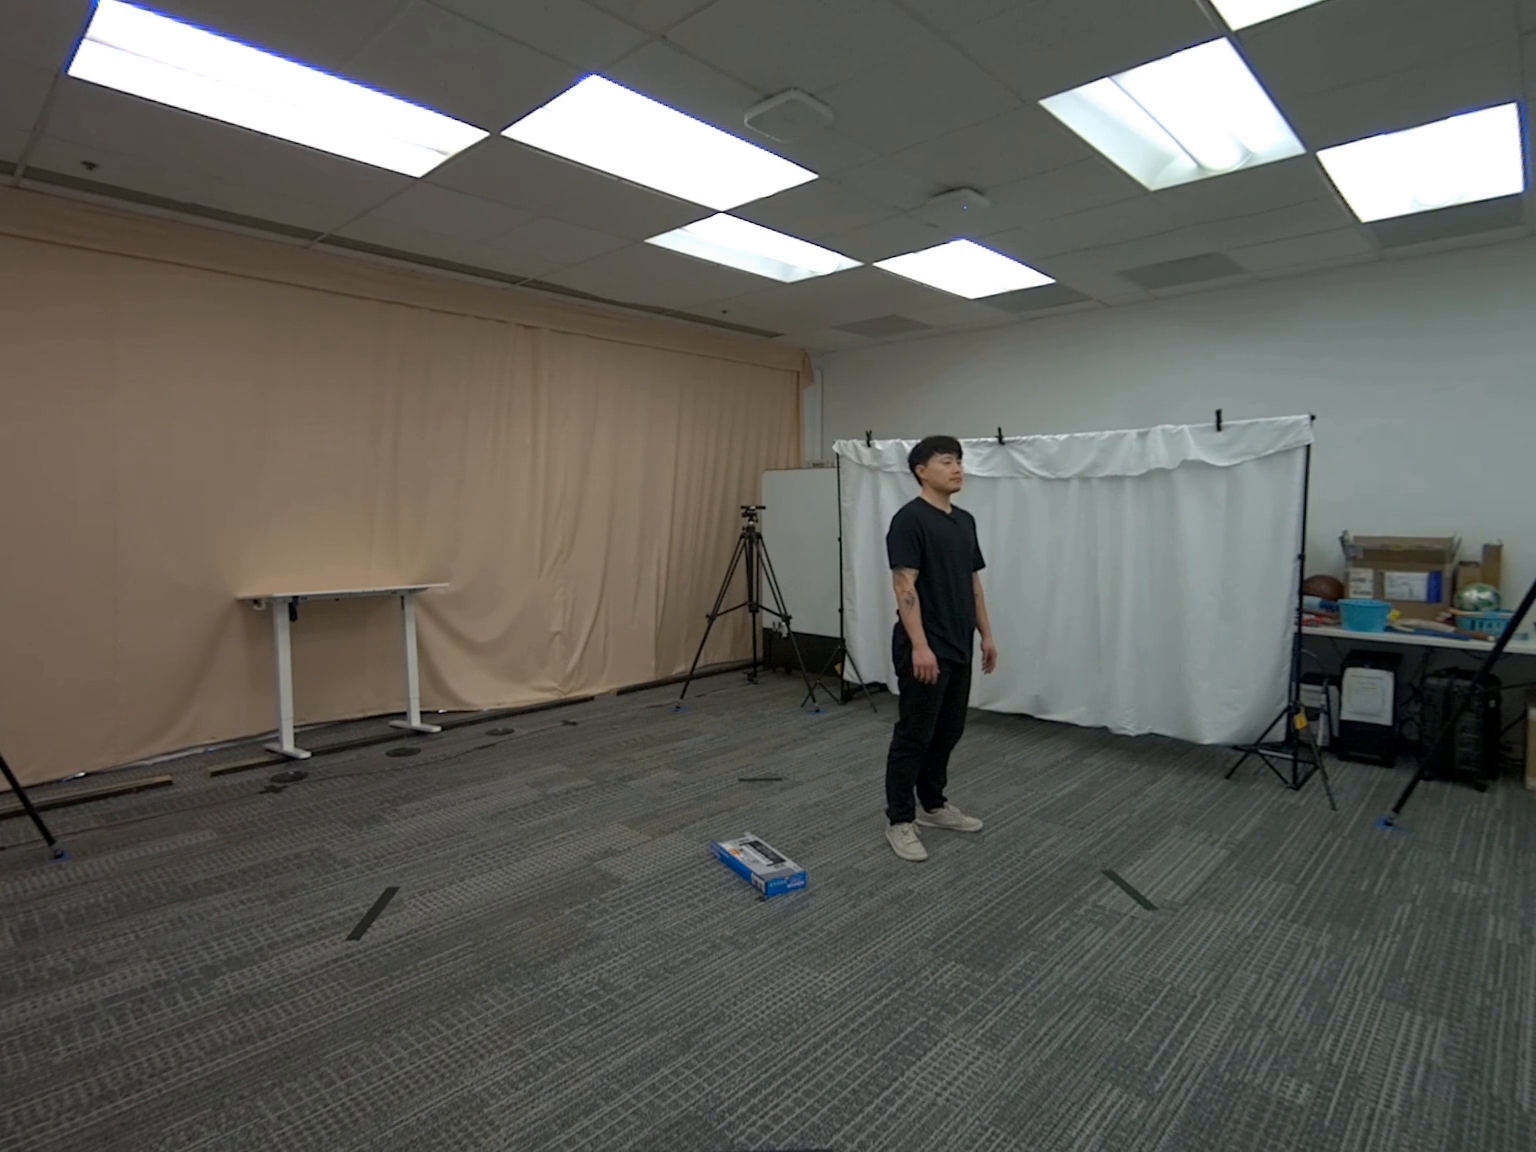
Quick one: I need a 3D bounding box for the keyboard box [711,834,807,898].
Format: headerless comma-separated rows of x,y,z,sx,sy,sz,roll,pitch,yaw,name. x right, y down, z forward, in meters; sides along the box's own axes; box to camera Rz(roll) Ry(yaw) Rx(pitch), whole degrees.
-0.045,1.092,3.222,0.171,0.059,0.449,-4,6,-30,keyboard box
